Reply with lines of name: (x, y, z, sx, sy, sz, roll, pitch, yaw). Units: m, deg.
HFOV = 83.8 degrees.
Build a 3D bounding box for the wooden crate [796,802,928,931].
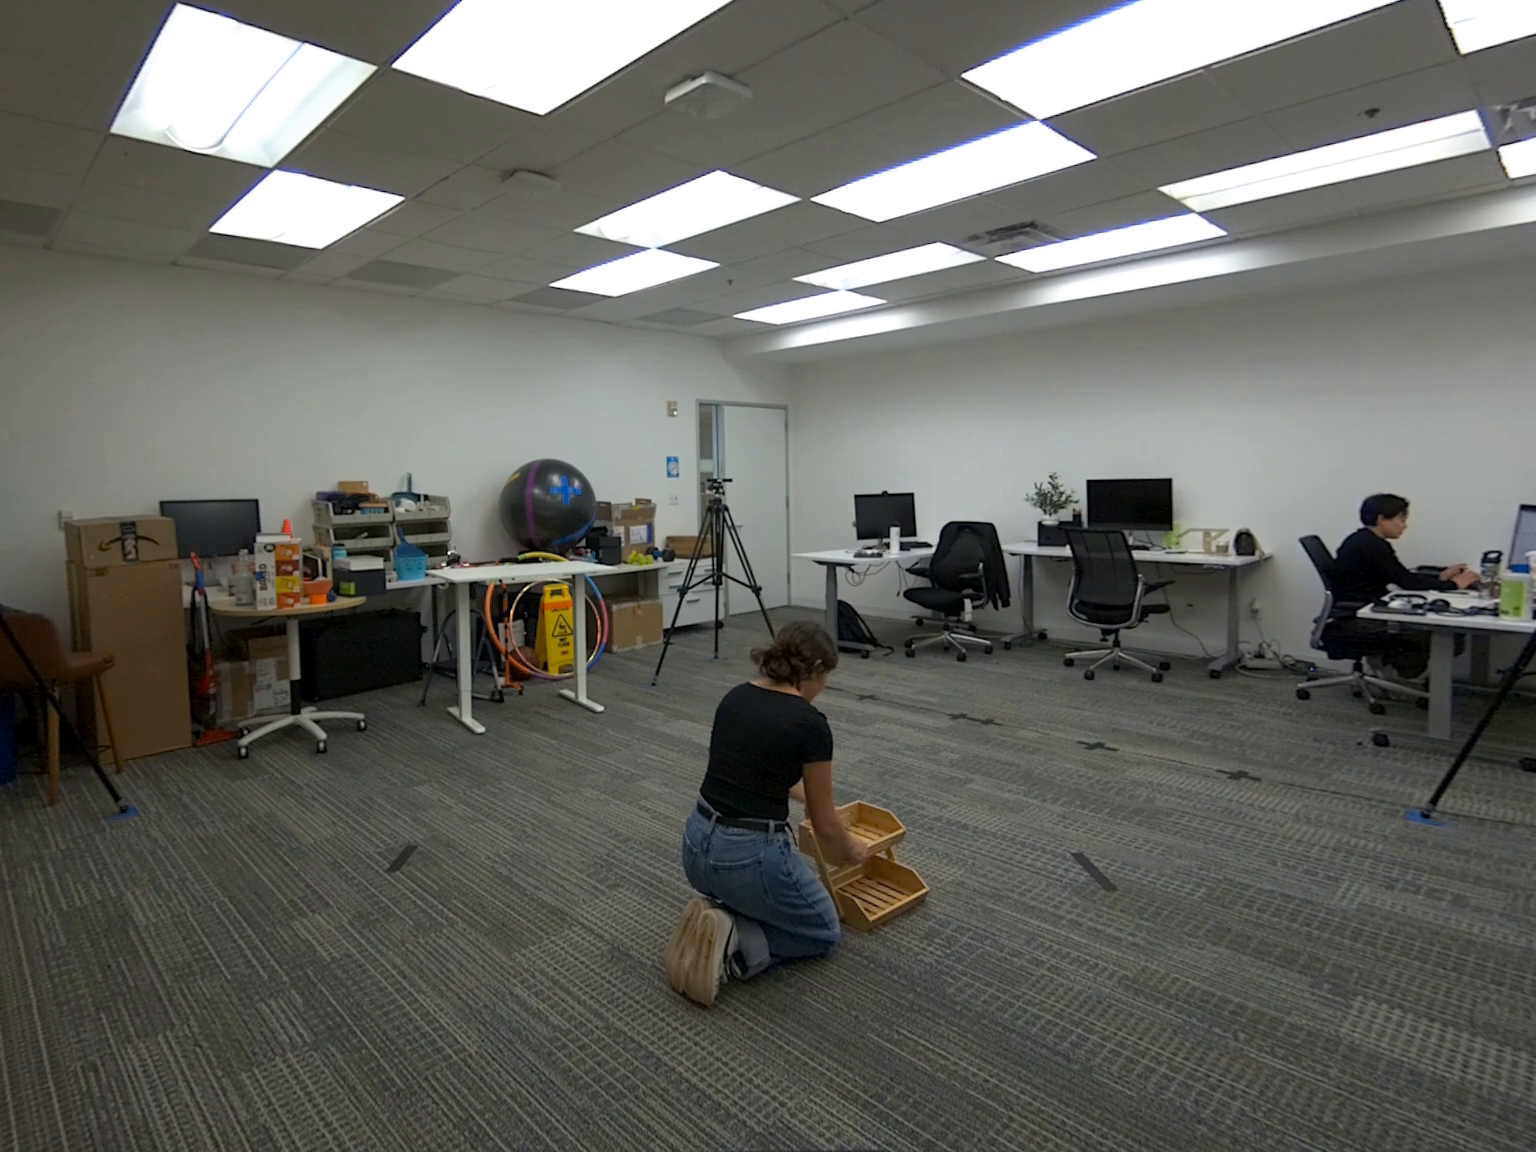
wooden crate: (0.321, 0.938, 2.805, 0.316, 0.272, 0.311, -6, 6, -42)
